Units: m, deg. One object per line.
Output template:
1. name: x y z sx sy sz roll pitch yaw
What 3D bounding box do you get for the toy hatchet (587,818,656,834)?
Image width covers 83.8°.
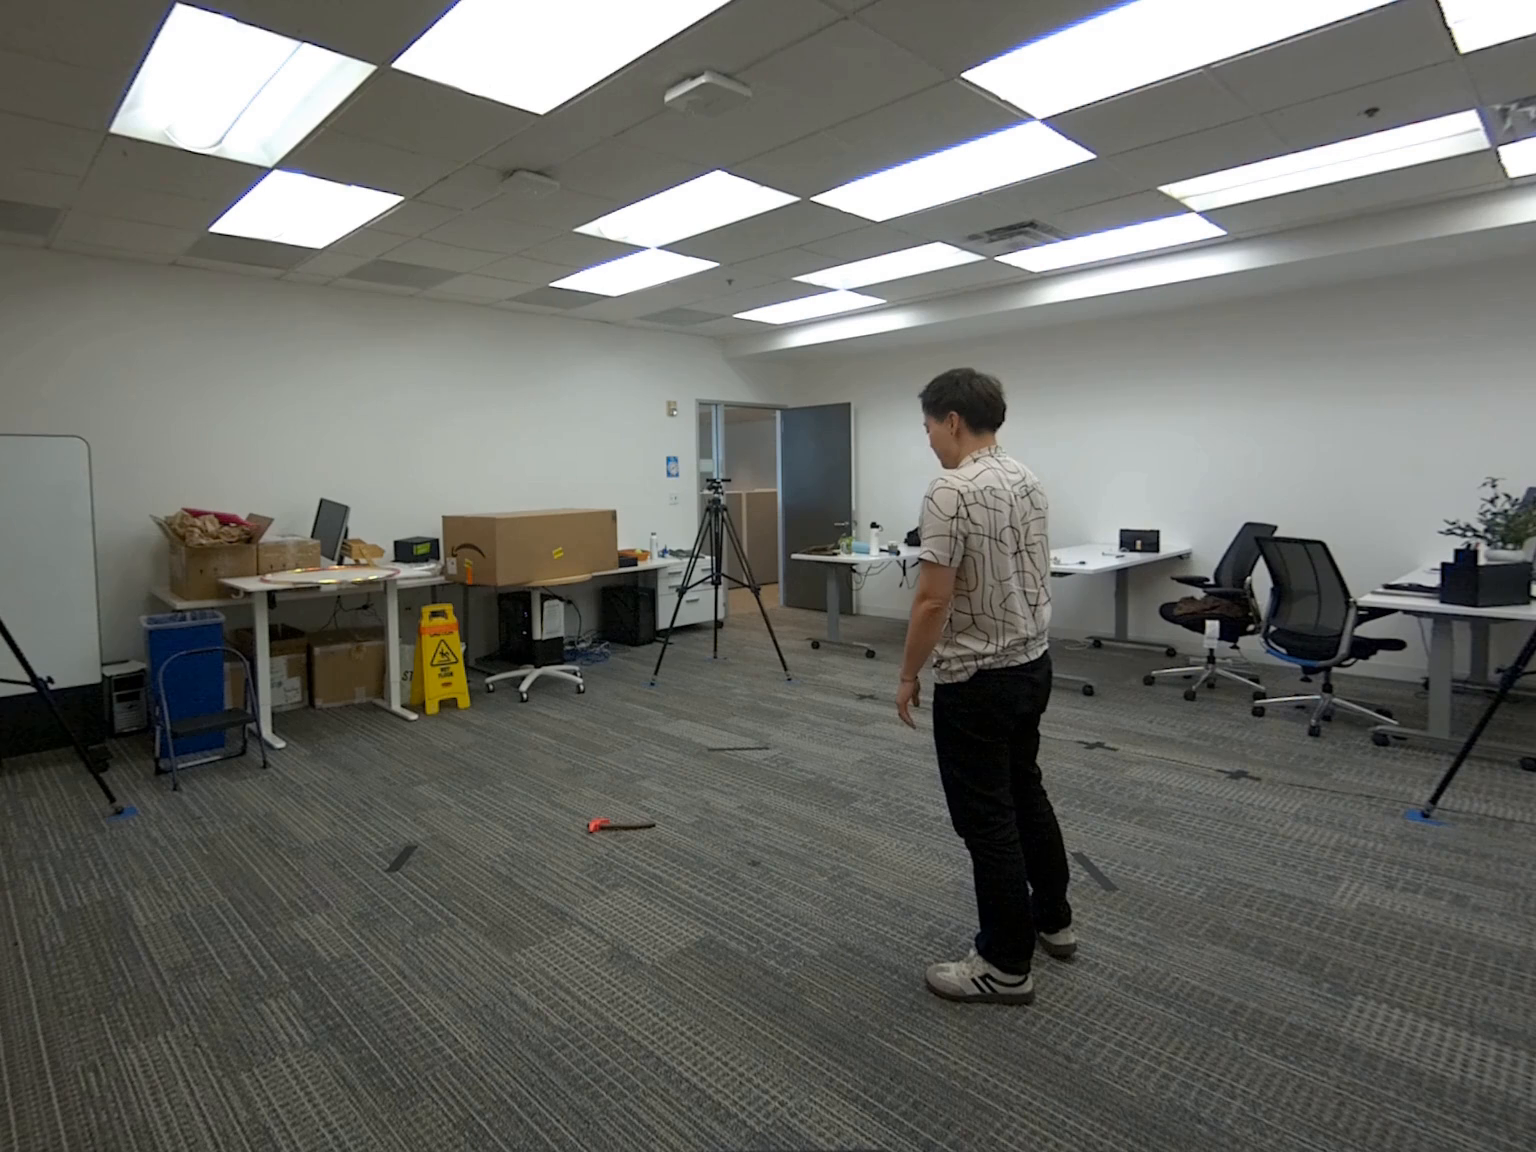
1. toy hatchet: -0.596 1.003 3.467 0.266 0.029 0.133 -1 3 -16
